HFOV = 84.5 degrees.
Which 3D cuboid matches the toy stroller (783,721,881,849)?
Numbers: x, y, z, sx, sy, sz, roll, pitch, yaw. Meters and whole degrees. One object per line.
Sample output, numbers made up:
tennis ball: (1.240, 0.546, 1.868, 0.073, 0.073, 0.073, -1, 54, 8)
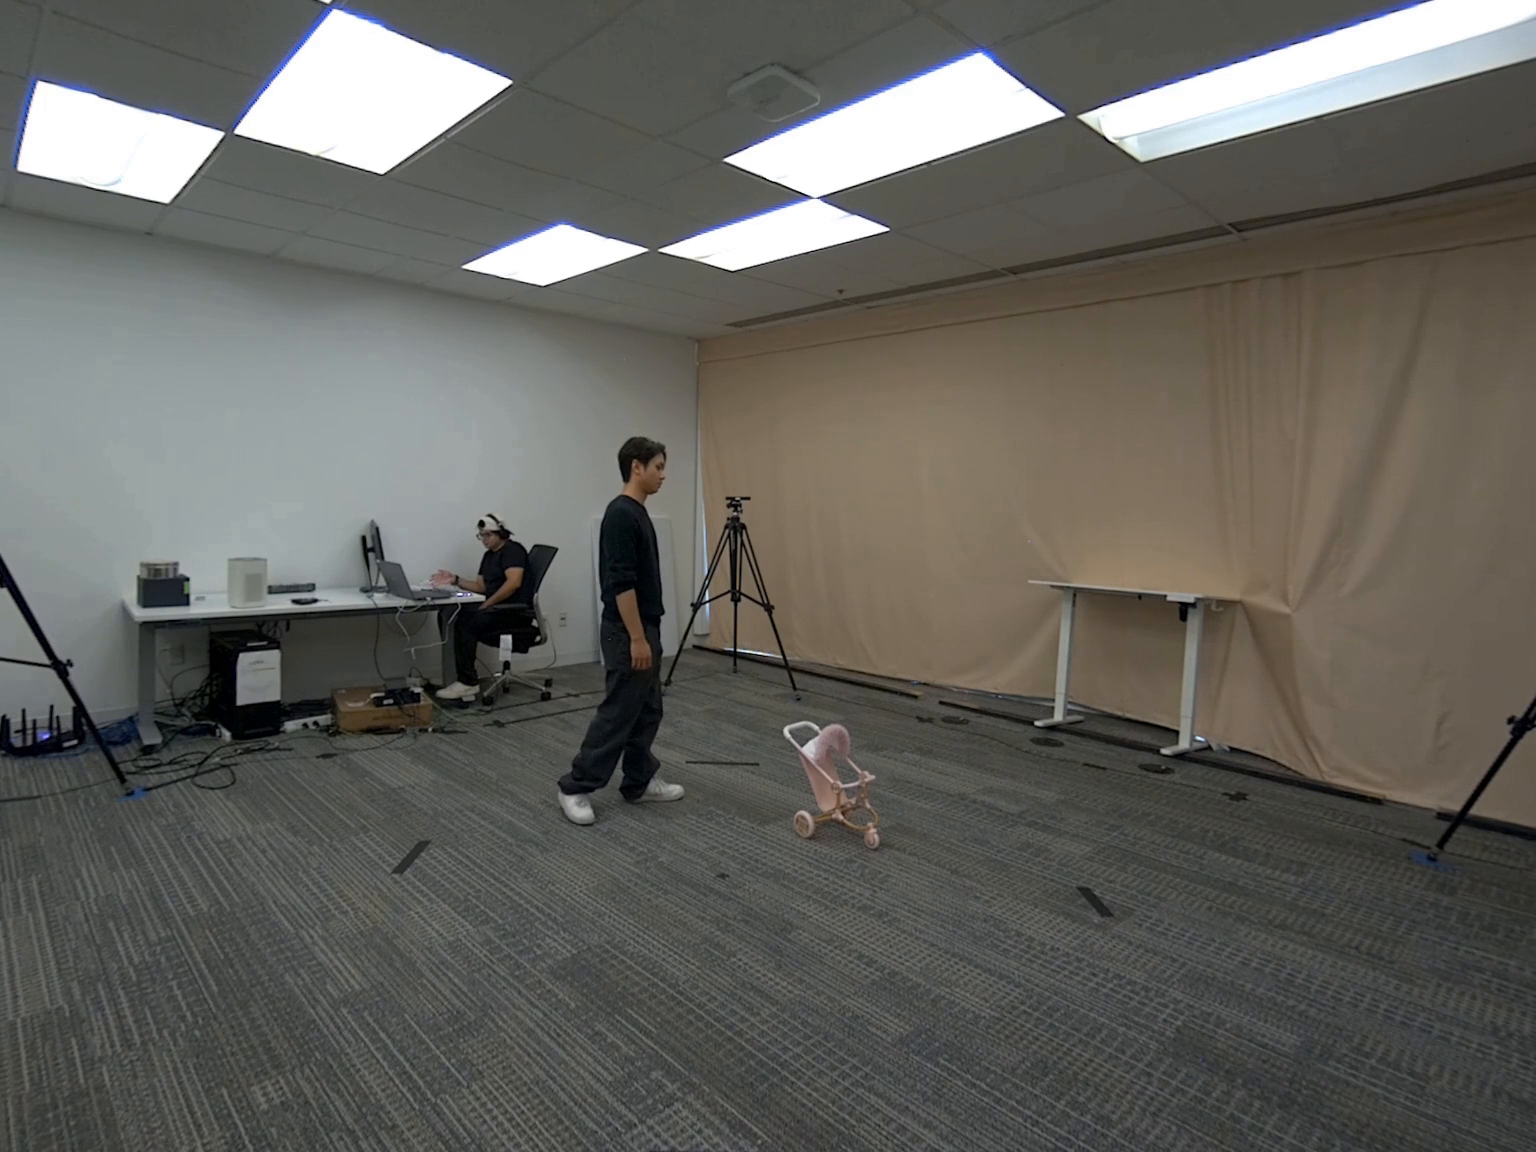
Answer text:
toy stroller: (0.273, 0.859, 3.513, 0.275, 0.540, 0.346, -2, -13, -42)
